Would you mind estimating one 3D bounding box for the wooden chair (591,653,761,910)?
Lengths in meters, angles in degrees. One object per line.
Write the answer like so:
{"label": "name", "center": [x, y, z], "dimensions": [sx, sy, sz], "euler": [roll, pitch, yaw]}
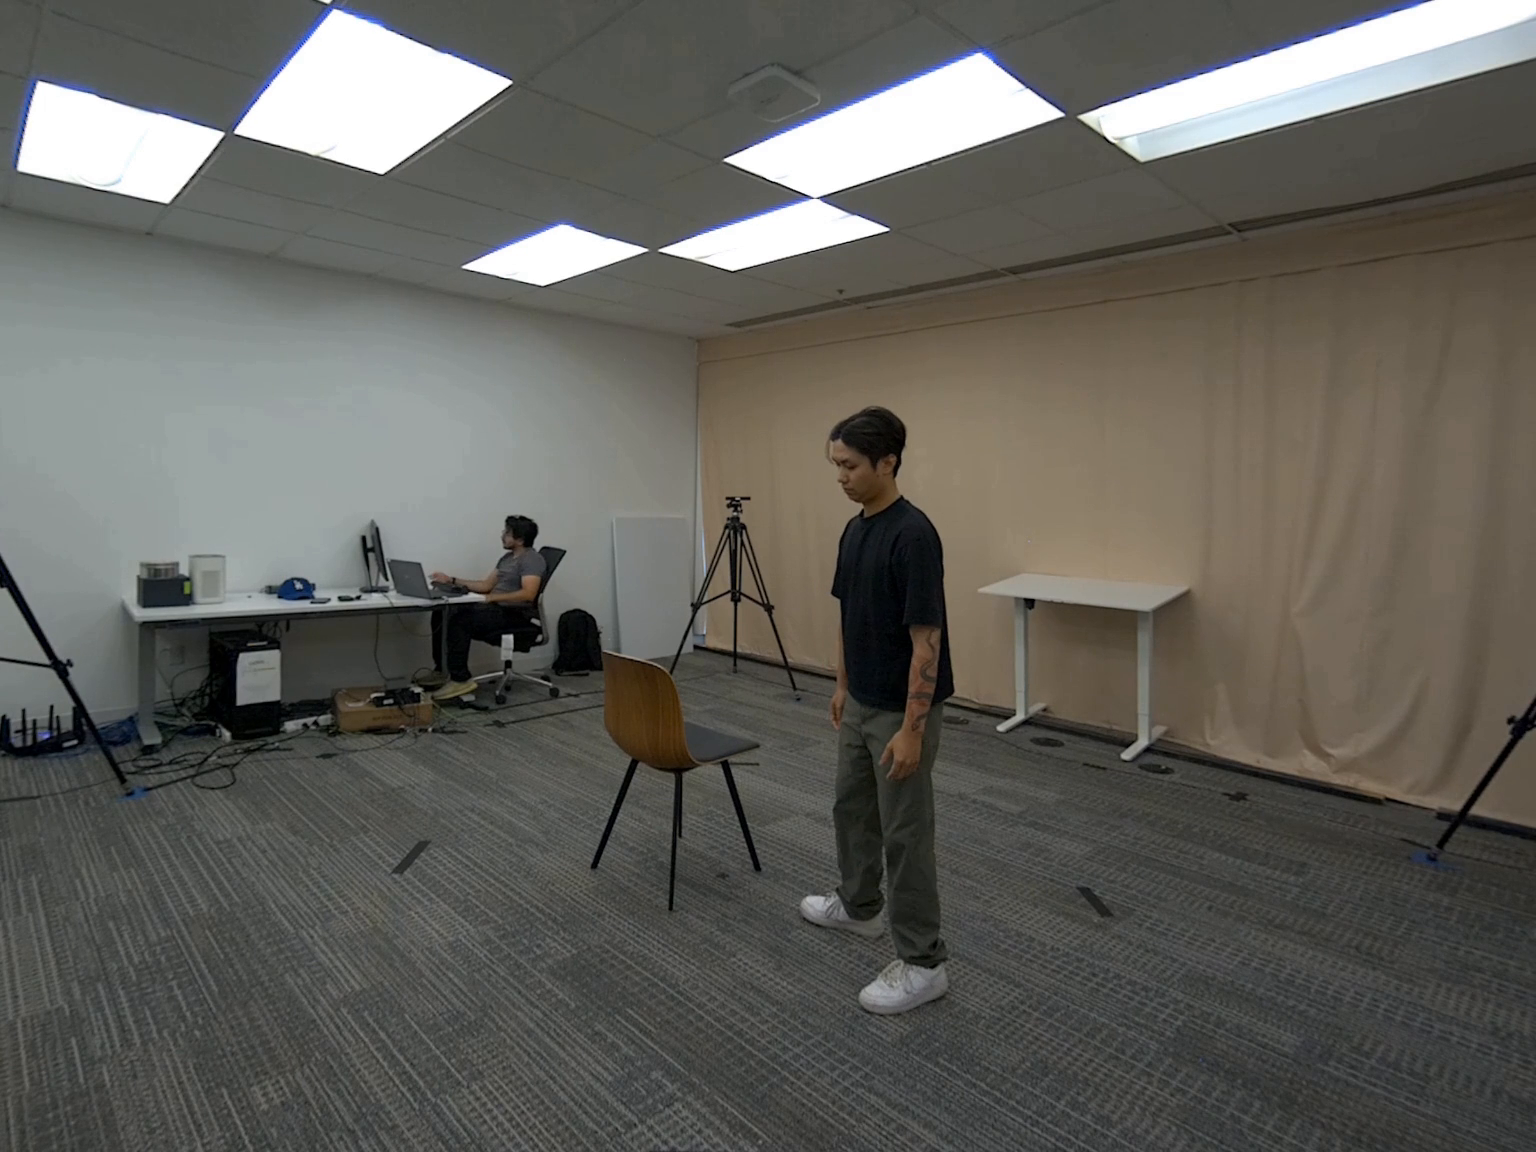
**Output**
{"label": "wooden chair", "center": [-0.330, 0.673, 3.119], "dimensions": [0.490, 0.873, 0.512], "euler": [4, 9, 43]}
